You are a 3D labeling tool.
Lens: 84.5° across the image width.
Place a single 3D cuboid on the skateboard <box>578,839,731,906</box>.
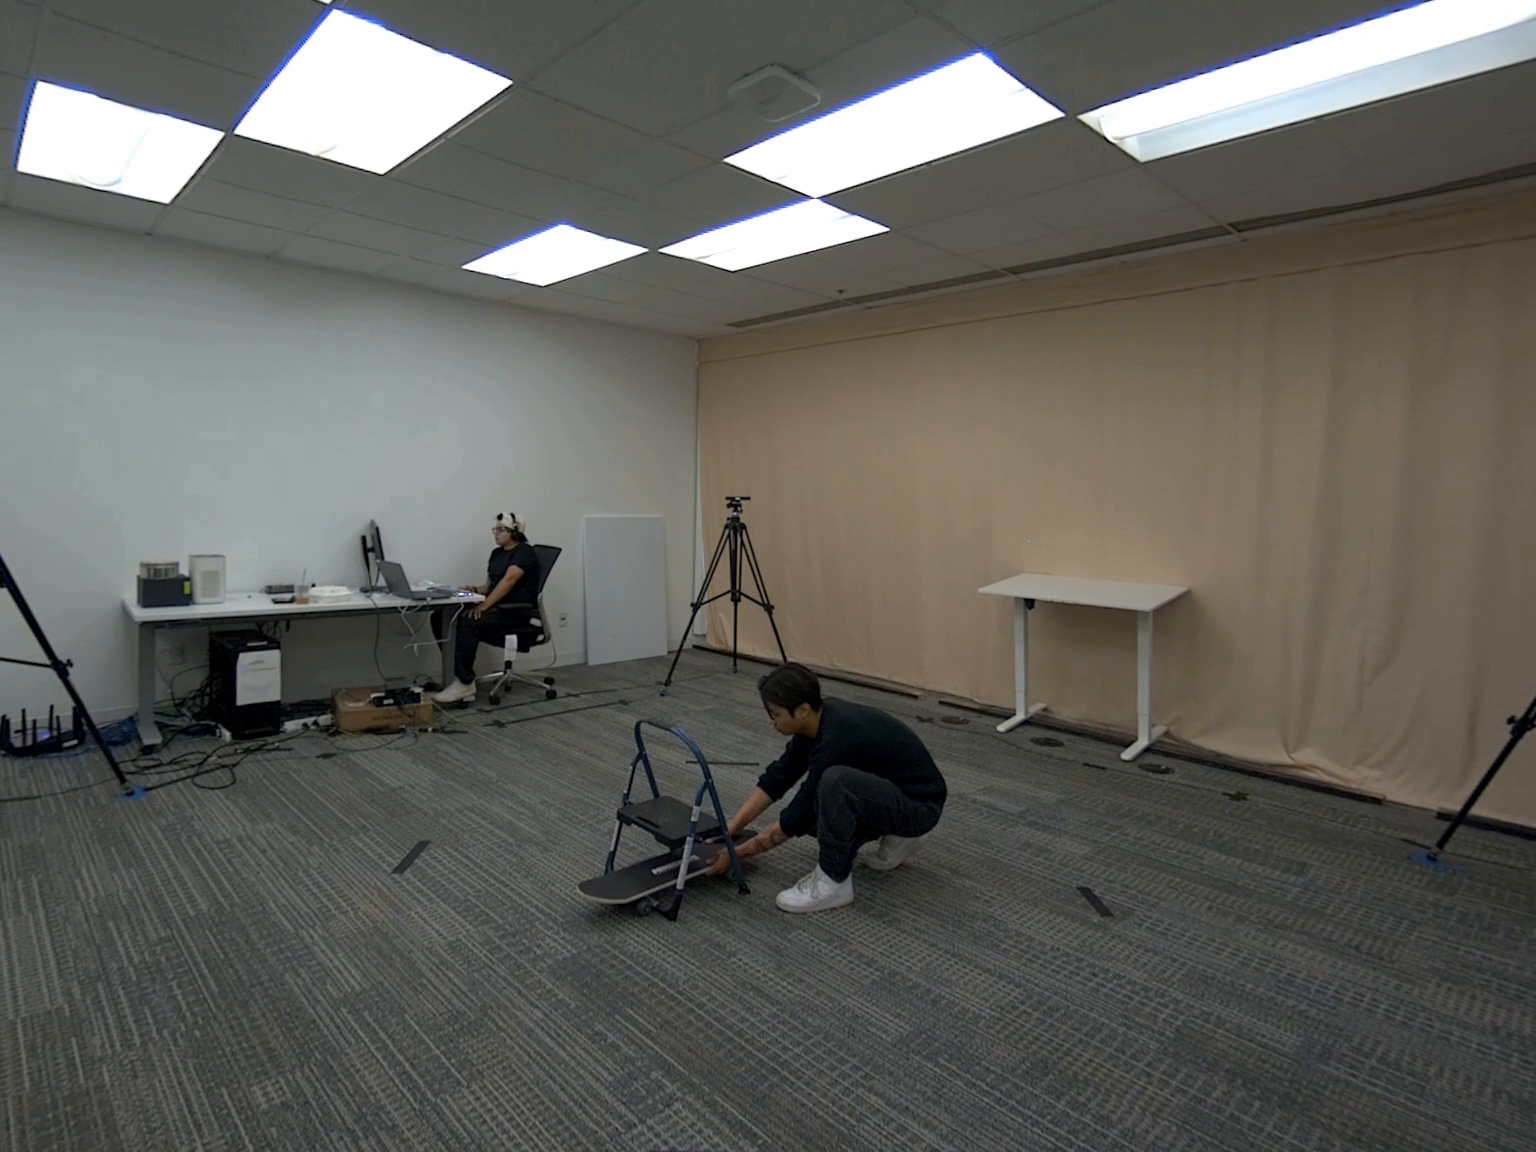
[{"bbox_3d":[-0.332,1.050,2.980,0.767,0.110,0.198,-2,5,-44],"label":"skateboard"}]
